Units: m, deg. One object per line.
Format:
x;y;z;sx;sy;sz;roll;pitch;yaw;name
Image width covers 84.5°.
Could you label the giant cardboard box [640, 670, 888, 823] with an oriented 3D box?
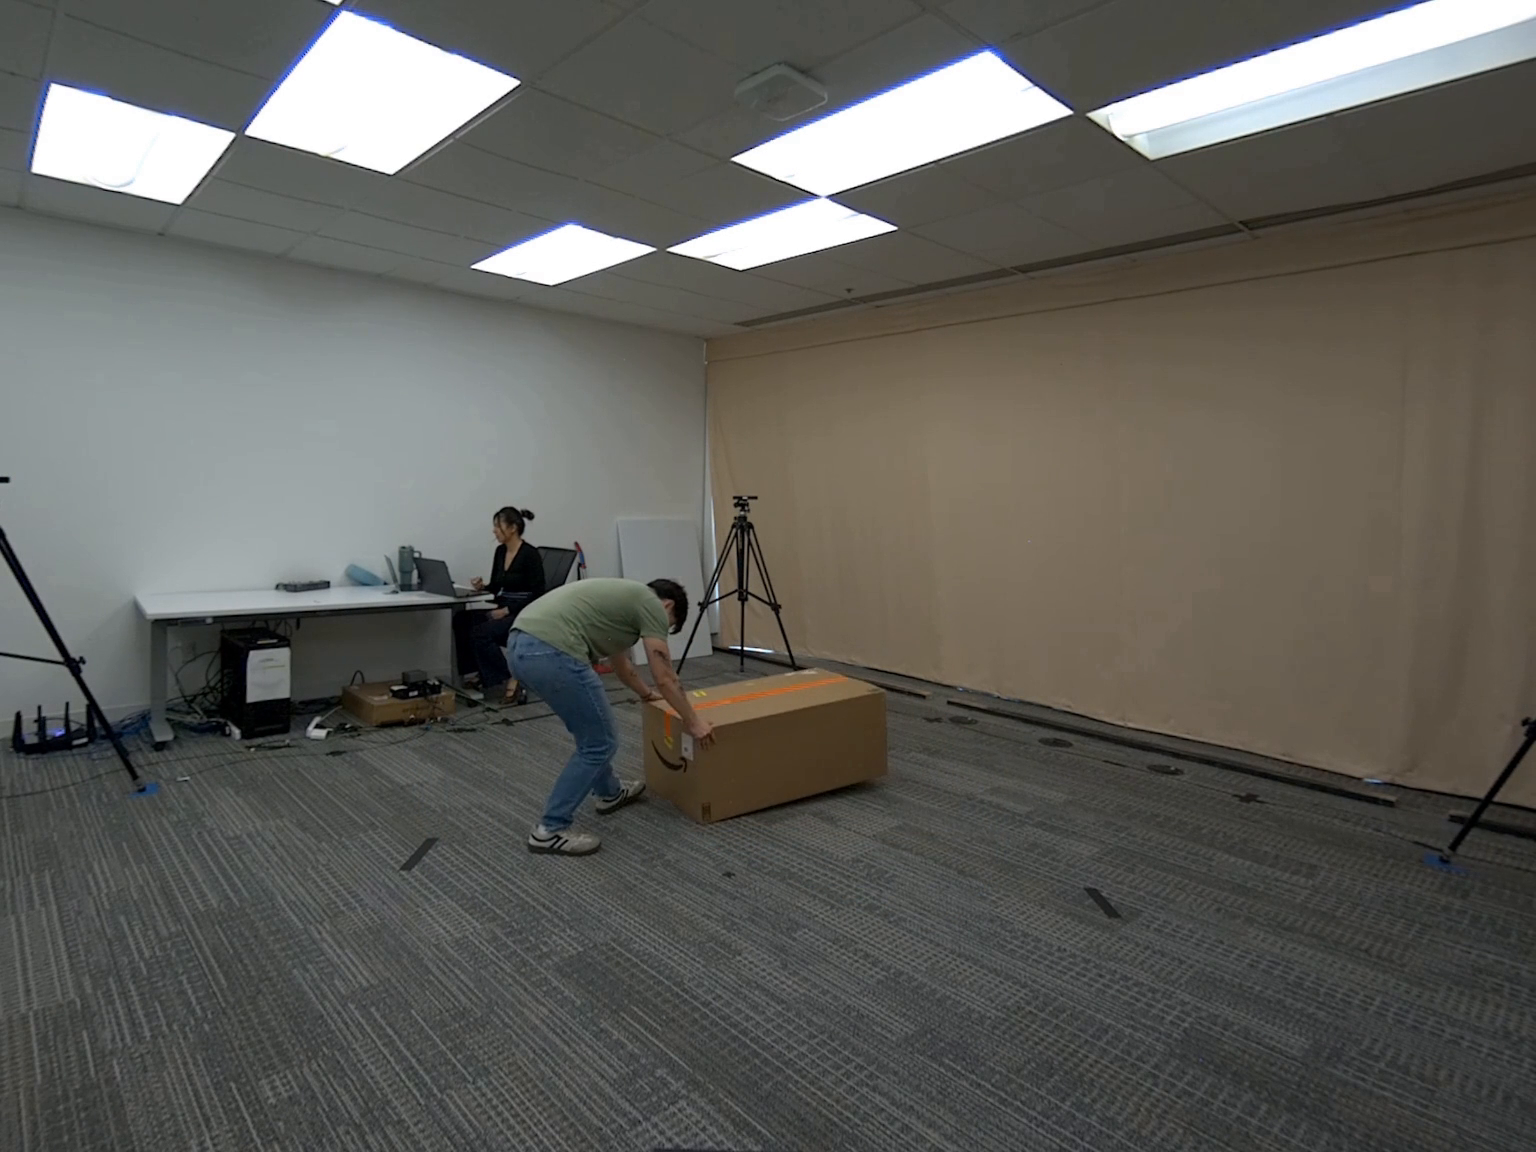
-0.017;0.776;4.030;1.007;0.424;0.591;-6;7;-30;giant cardboard box
